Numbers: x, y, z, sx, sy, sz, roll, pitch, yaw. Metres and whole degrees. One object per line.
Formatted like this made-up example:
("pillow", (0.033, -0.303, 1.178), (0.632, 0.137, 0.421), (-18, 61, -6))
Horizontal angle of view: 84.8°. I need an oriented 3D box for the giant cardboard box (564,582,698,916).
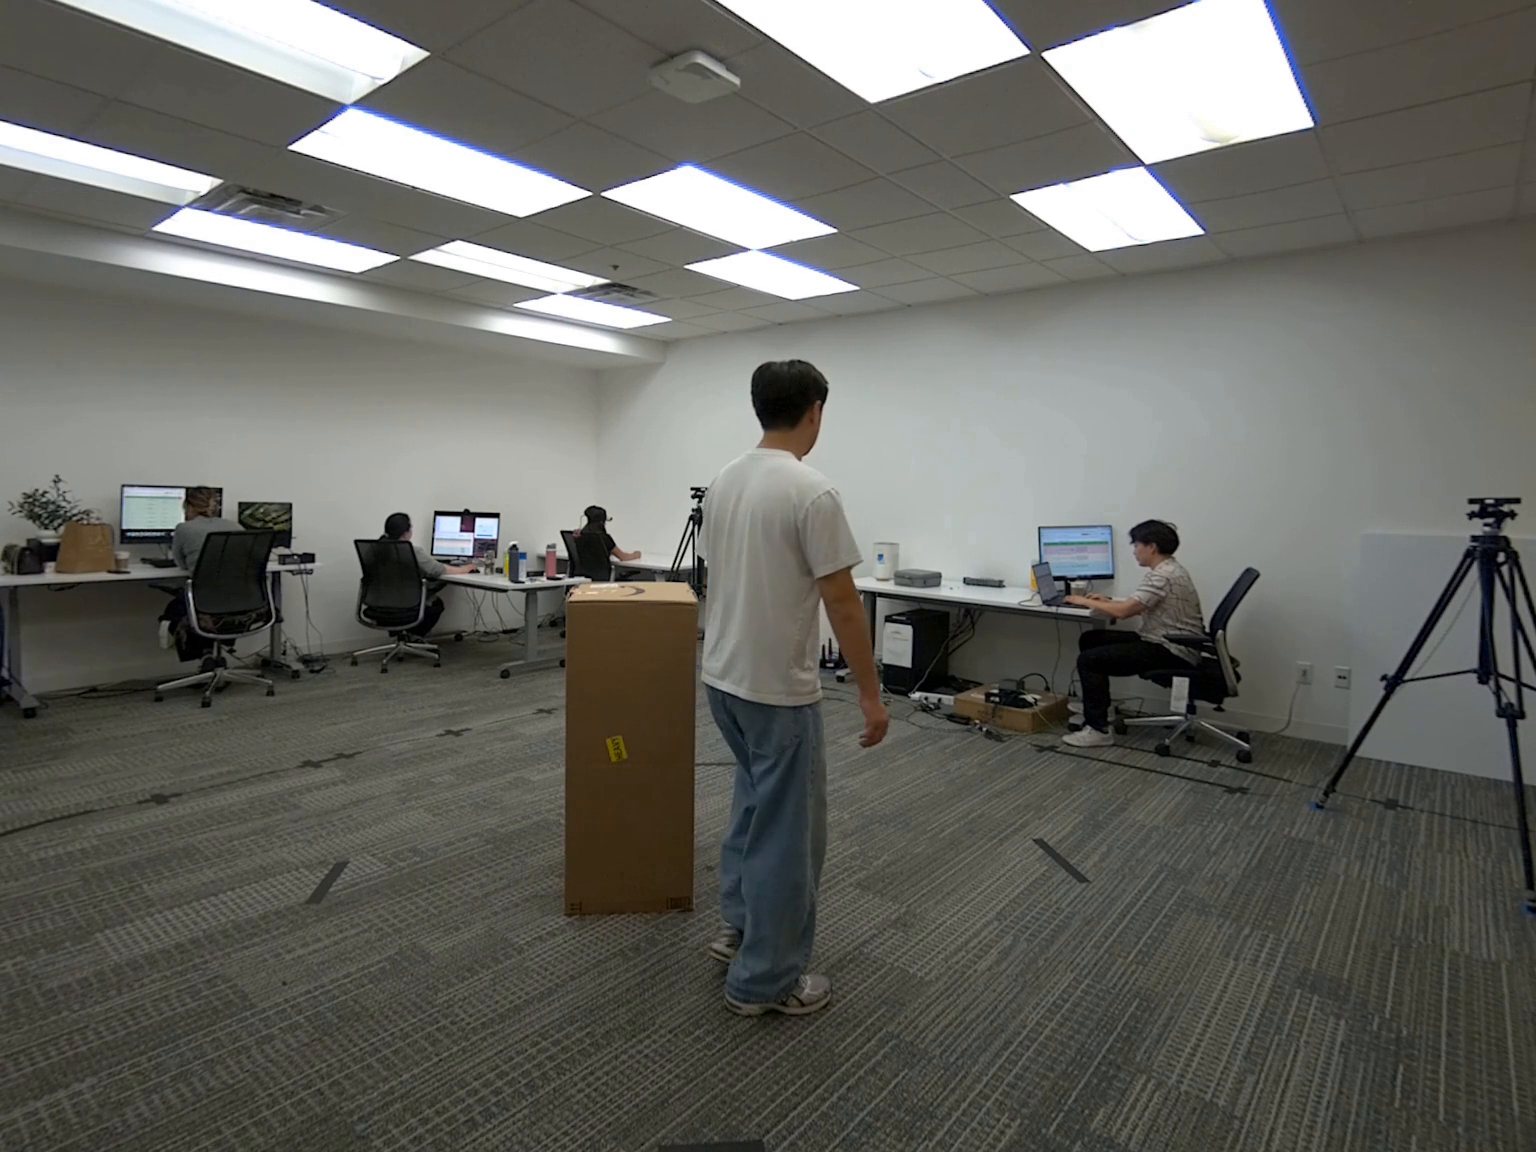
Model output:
("giant cardboard box", (-0.499, 0.560, 3.025), (0.423, 1.023, 0.584), (1, 3, -8))
